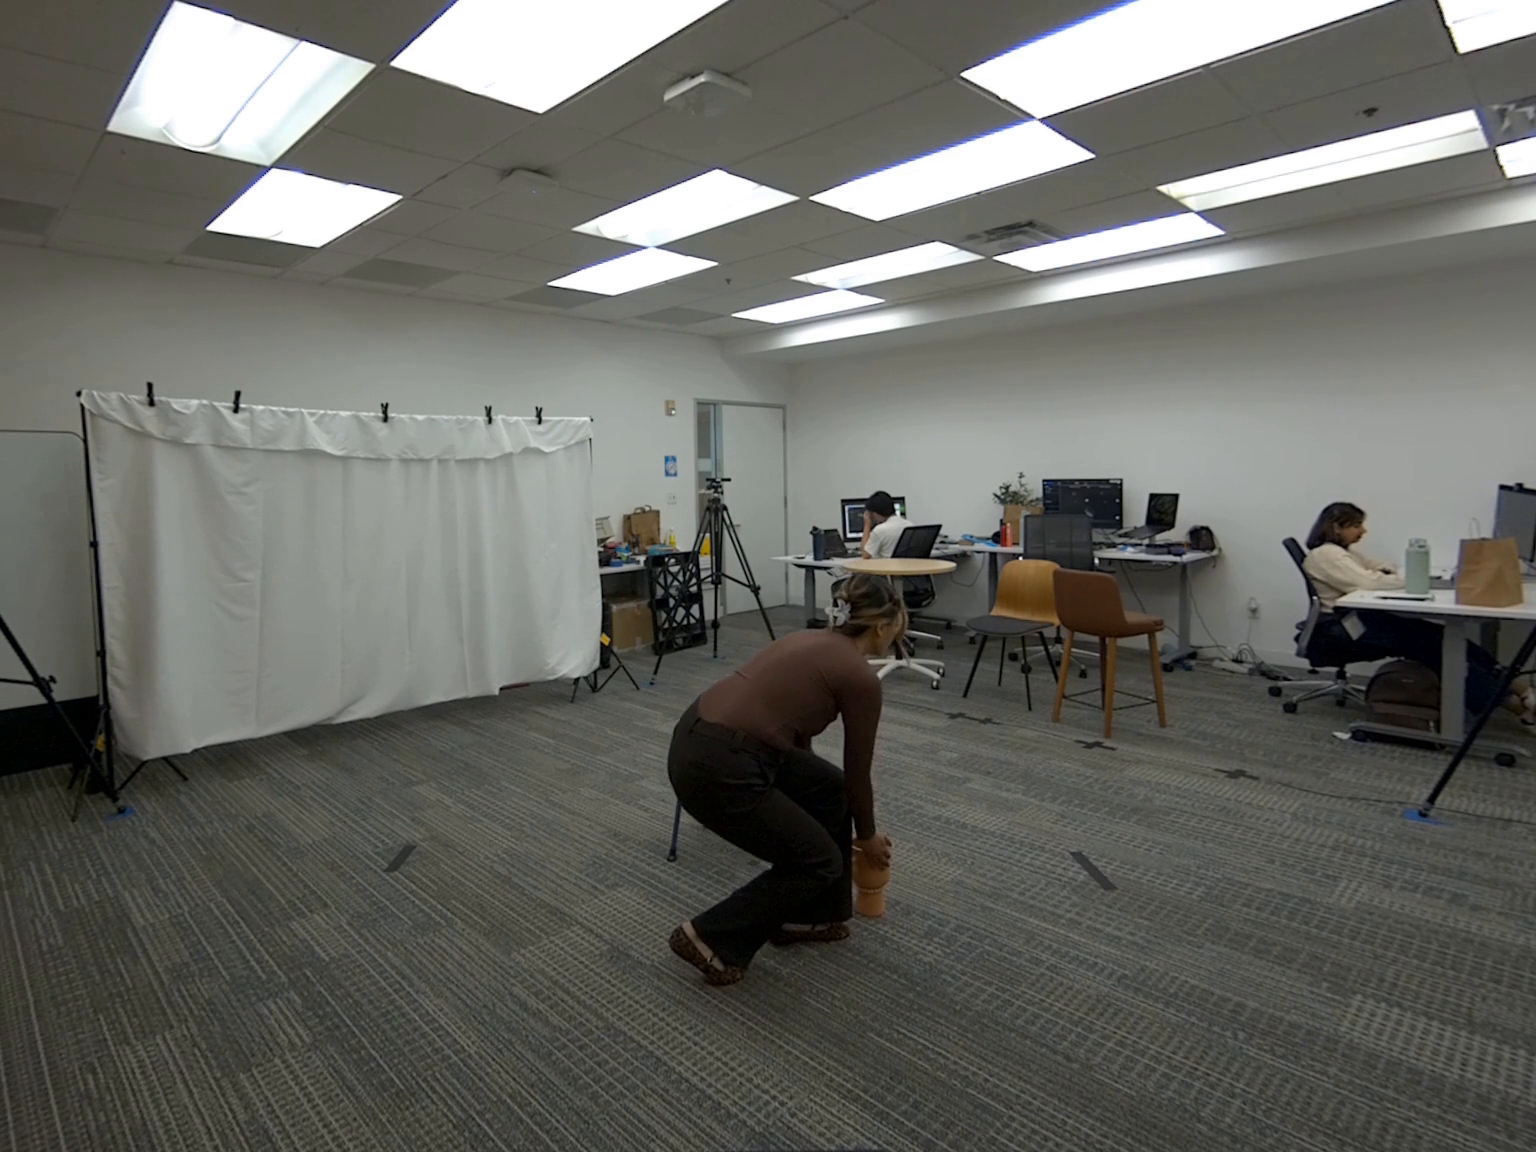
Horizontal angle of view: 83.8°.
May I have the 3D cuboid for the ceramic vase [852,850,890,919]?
[{"bbox_3d":[0.332,0.964,2.746,0.158,0.219,0.136,-2,5,-5],"label":"ceramic vase"}]
